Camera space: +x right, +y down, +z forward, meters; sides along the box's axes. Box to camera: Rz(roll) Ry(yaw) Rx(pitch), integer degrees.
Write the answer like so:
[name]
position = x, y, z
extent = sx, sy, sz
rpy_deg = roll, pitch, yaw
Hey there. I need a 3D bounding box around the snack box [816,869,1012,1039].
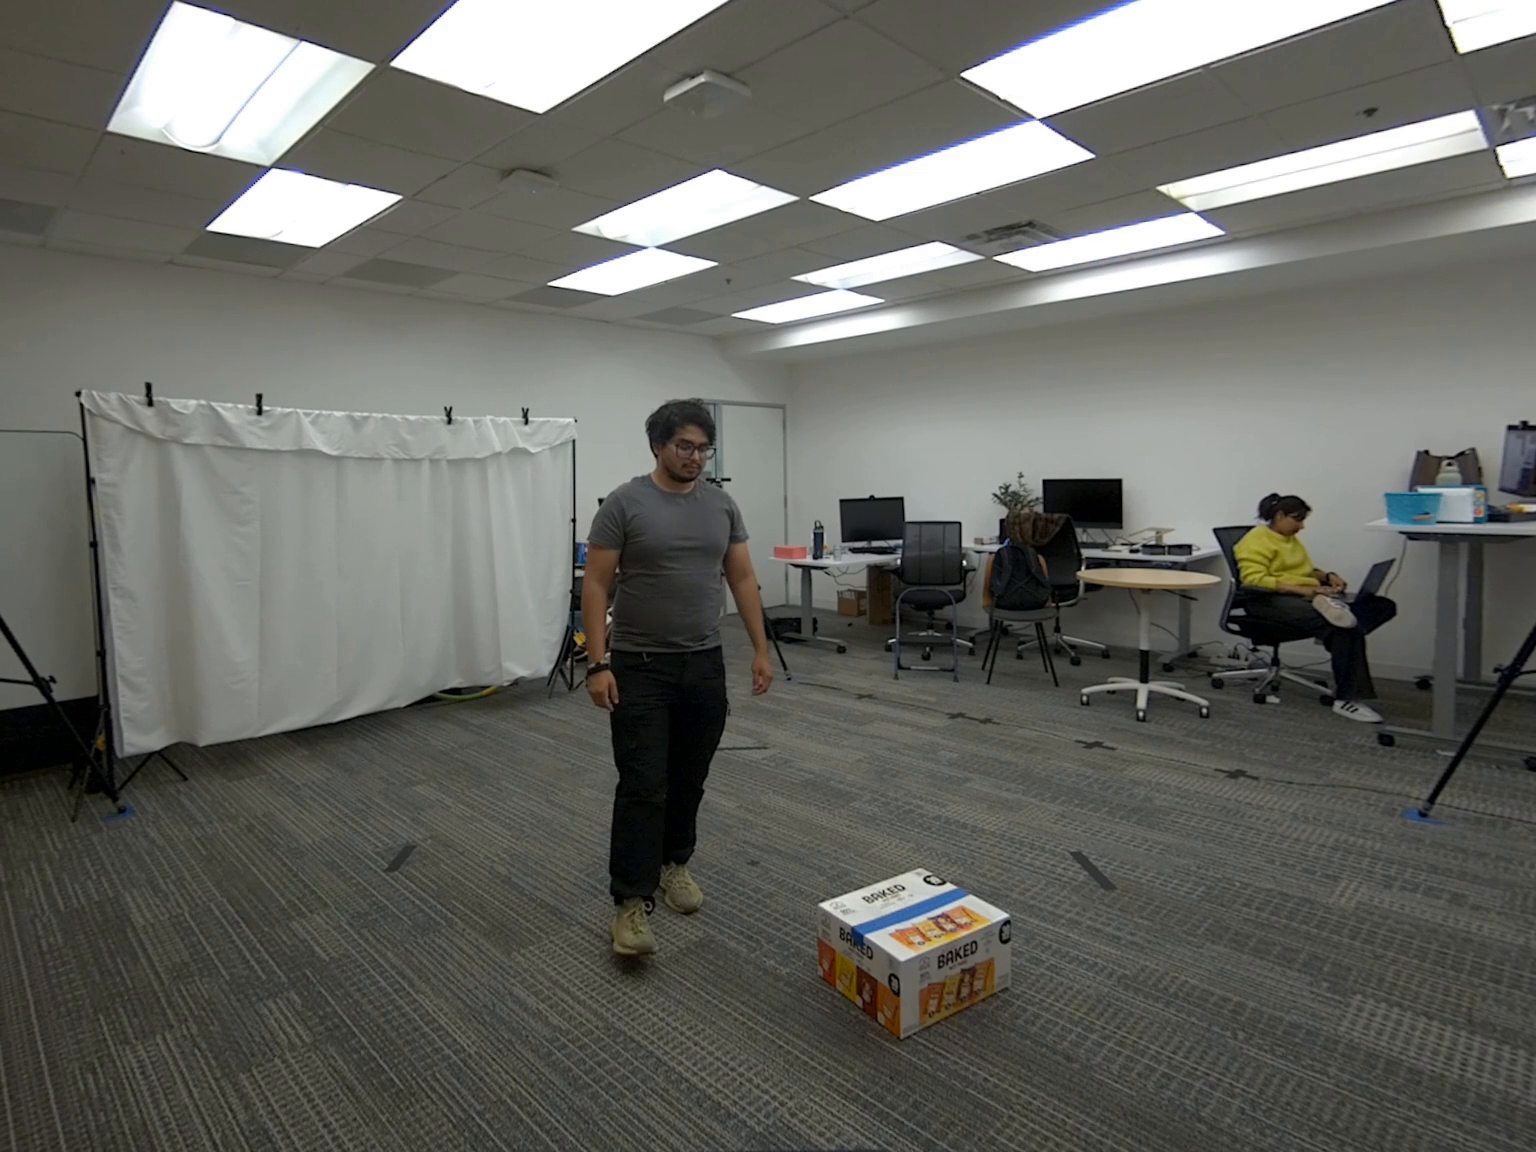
[snack box]
position = 0.407, 1.021, 2.351
extent = 0.395, 0.205, 0.350
rpy_deg = -5, 8, -33
